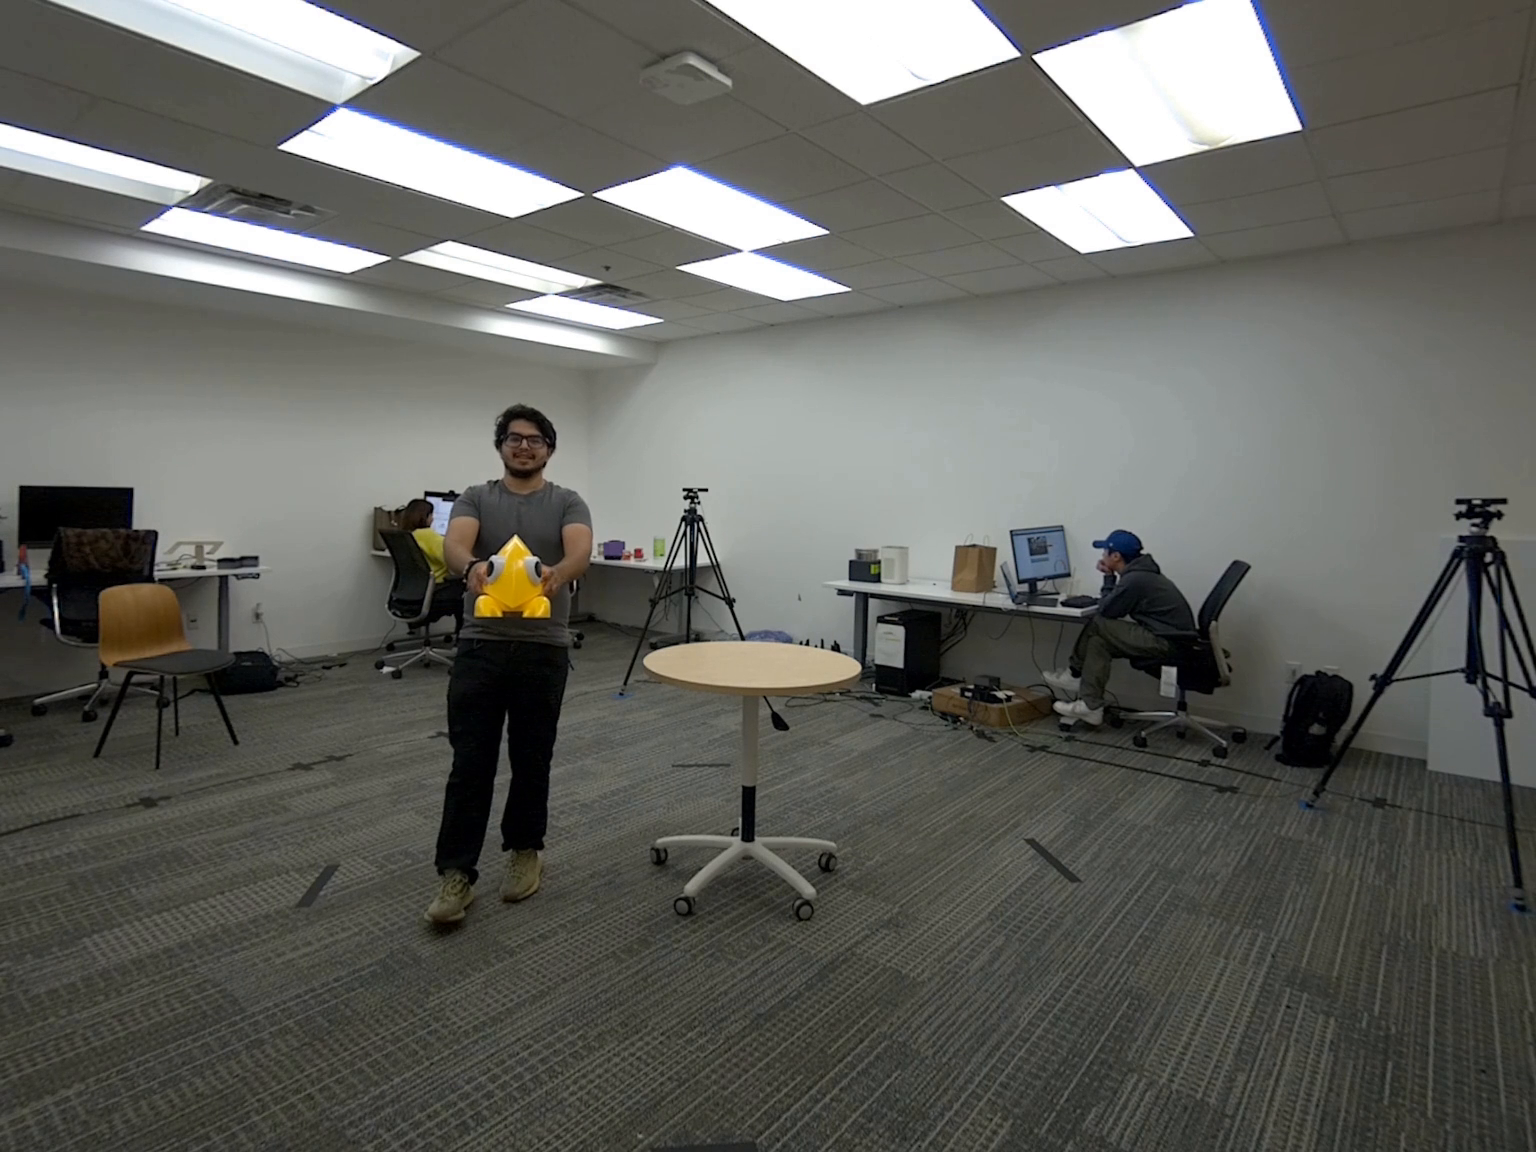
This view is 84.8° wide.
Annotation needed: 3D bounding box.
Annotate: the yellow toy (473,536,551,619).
[{"bbox_3d":[-0.704,-0.001,2.326,0.201,0.232,0.195,3,-4,-15],"label":"yellow toy"}]
